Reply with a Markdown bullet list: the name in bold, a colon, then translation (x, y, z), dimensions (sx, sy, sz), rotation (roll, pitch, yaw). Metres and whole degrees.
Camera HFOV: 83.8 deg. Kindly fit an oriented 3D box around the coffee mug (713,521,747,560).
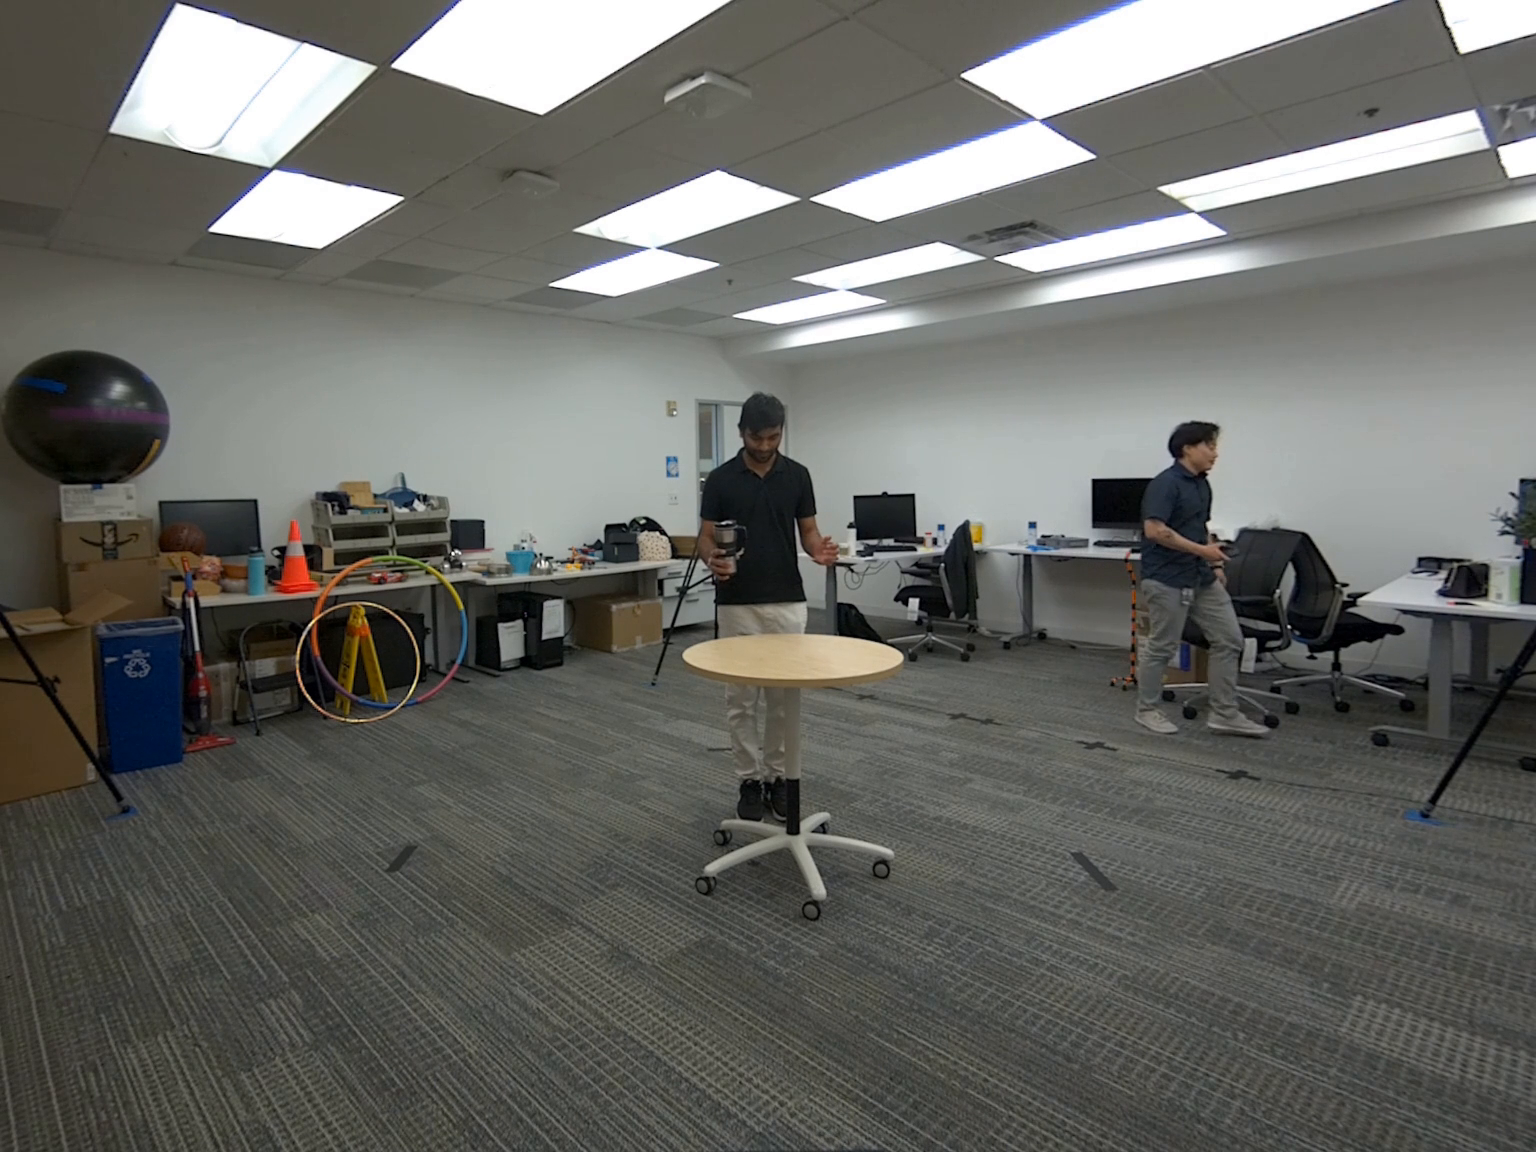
- **coffee mug**: translation (-0.136, -0.103, 3.214), dimensions (0.125, 0.201, 0.086), rotation (4, 13, 32)
